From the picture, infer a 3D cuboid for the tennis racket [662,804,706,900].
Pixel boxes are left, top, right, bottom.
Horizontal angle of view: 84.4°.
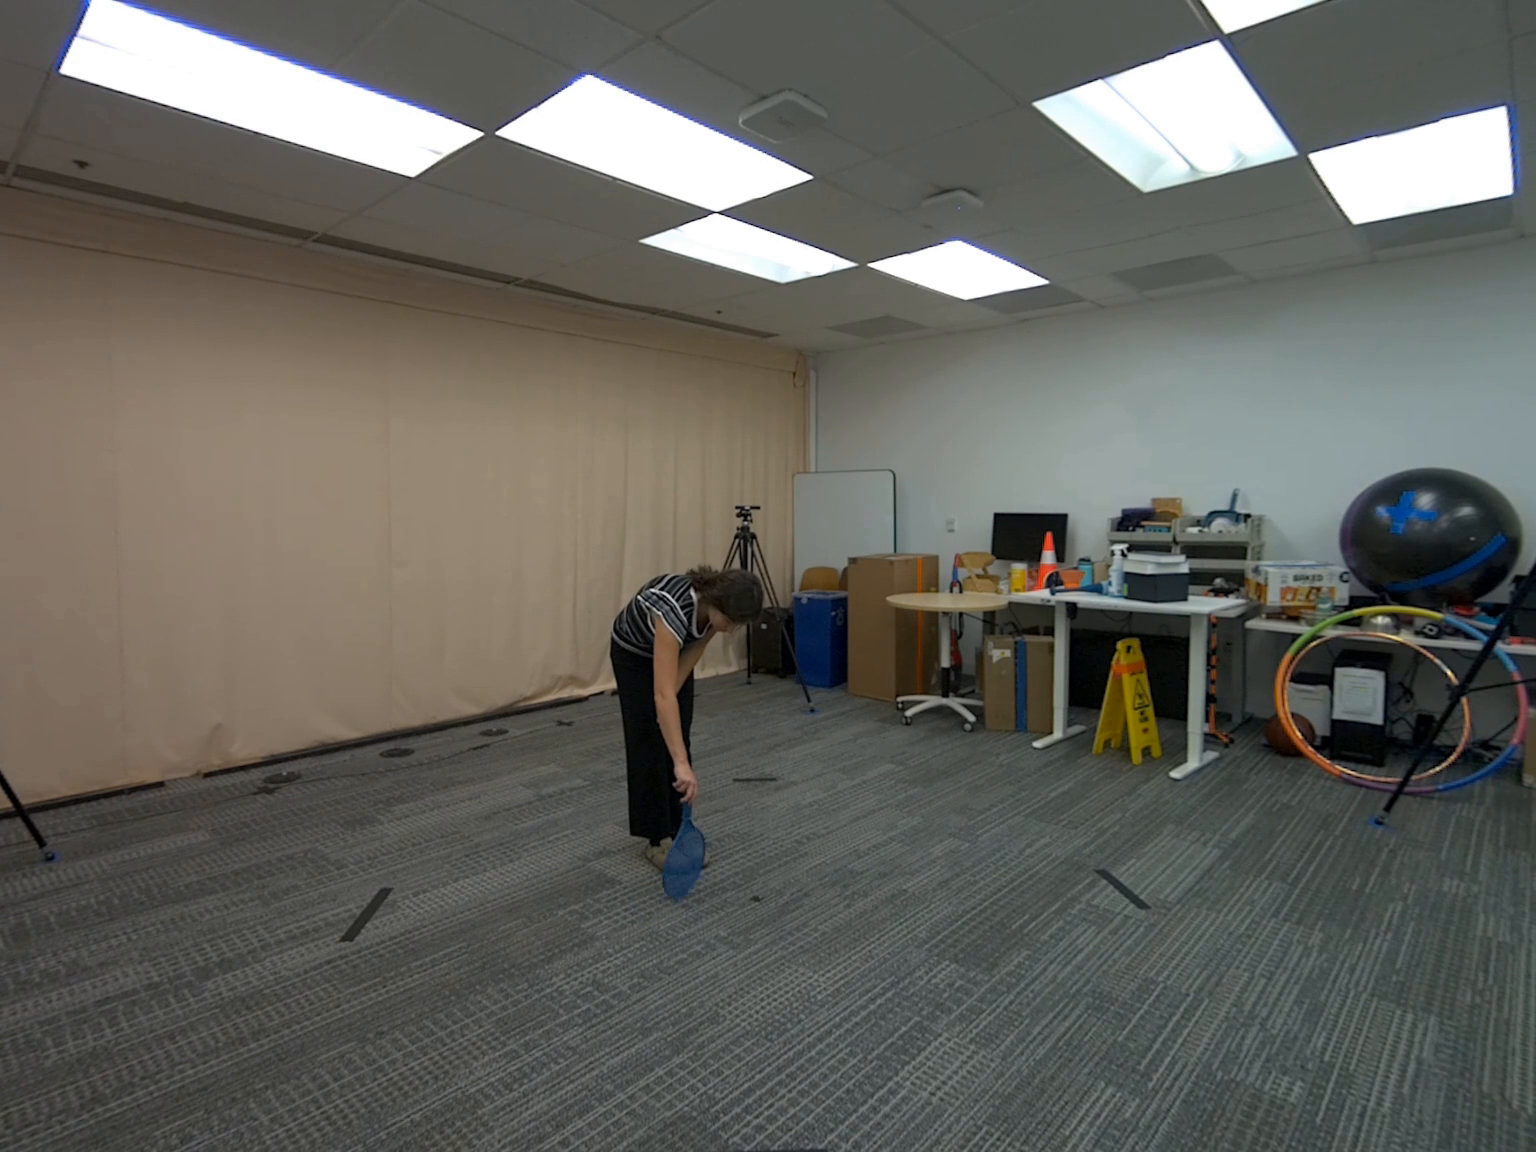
[{"bbox_3d":[-0.292,0.939,2.961,0.033,0.429,0.208,16,21,39],"label":"tennis racket"}]
